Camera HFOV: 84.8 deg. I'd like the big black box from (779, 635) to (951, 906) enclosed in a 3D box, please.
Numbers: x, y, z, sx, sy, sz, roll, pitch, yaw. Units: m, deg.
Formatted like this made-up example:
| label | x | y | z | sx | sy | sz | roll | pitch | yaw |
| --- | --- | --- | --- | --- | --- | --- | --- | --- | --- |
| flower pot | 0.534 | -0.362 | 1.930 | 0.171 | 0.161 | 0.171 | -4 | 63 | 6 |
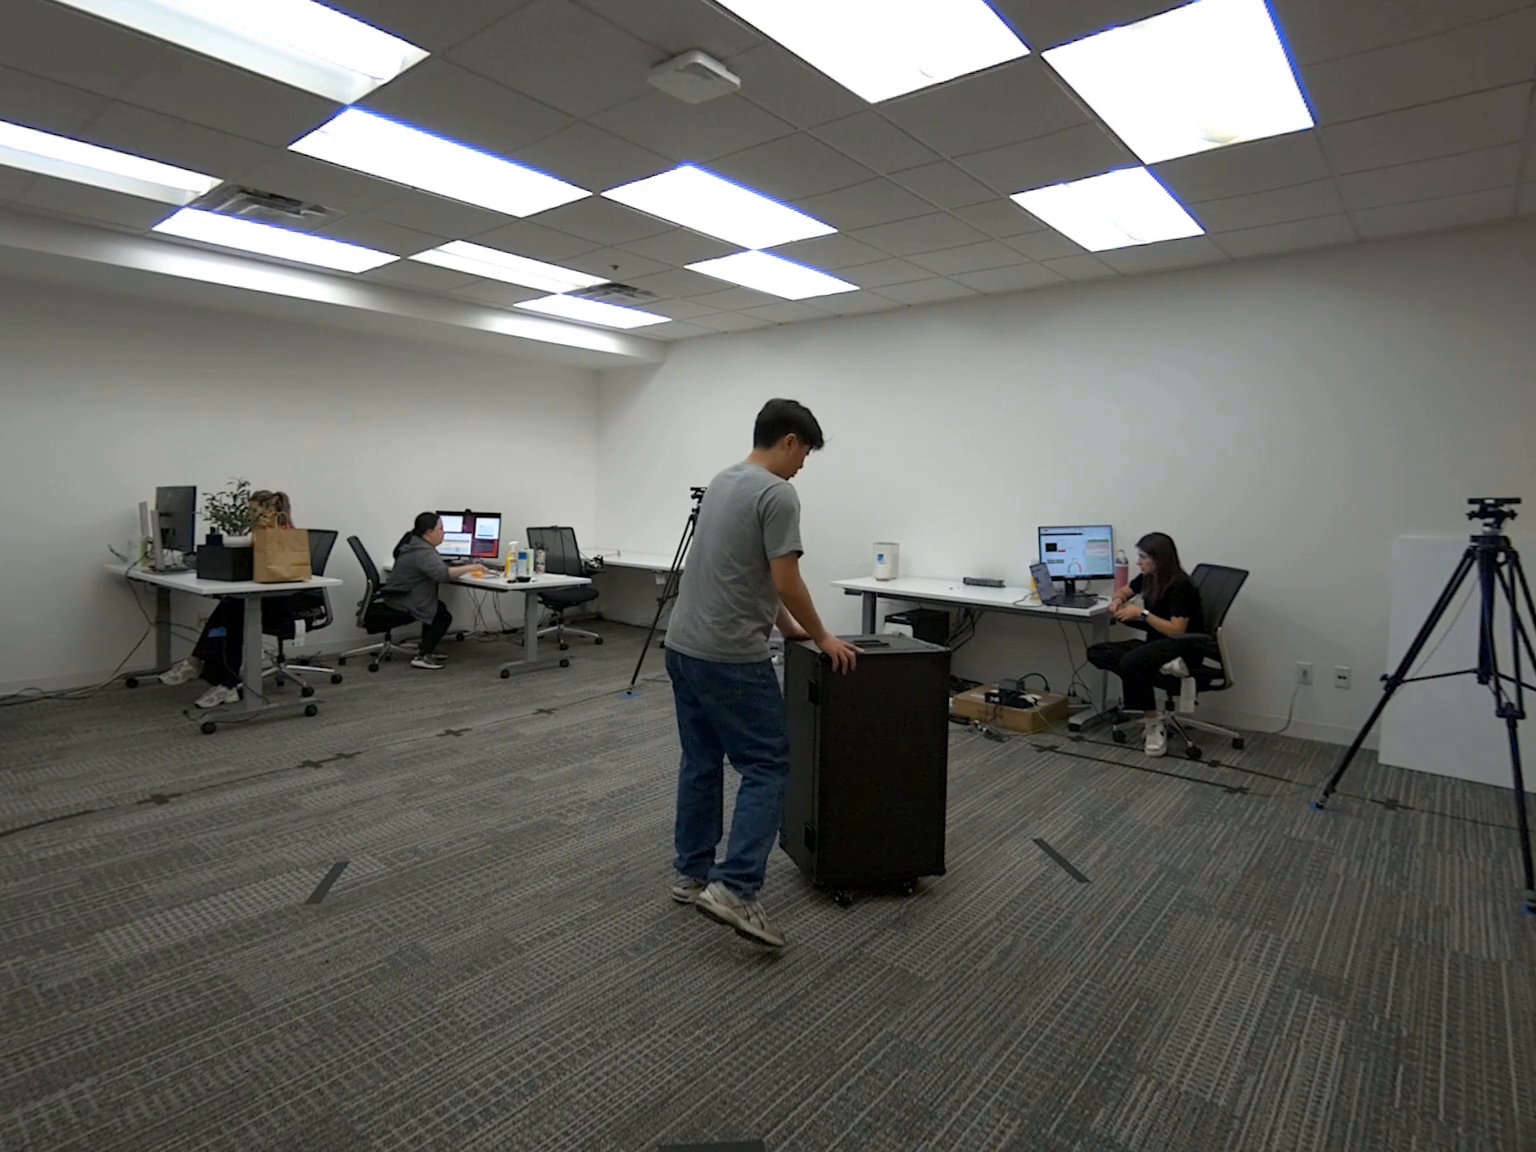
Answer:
| label | x | y | z | sx | sy | sz | roll | pitch | yaw |
| --- | --- | --- | --- | --- | --- | --- | --- | --- | --- |
| big black box | 0.315 | 0.664 | 3.035 | 0.512 | 0.860 | 0.404 | 0 | 2 | -18 |
